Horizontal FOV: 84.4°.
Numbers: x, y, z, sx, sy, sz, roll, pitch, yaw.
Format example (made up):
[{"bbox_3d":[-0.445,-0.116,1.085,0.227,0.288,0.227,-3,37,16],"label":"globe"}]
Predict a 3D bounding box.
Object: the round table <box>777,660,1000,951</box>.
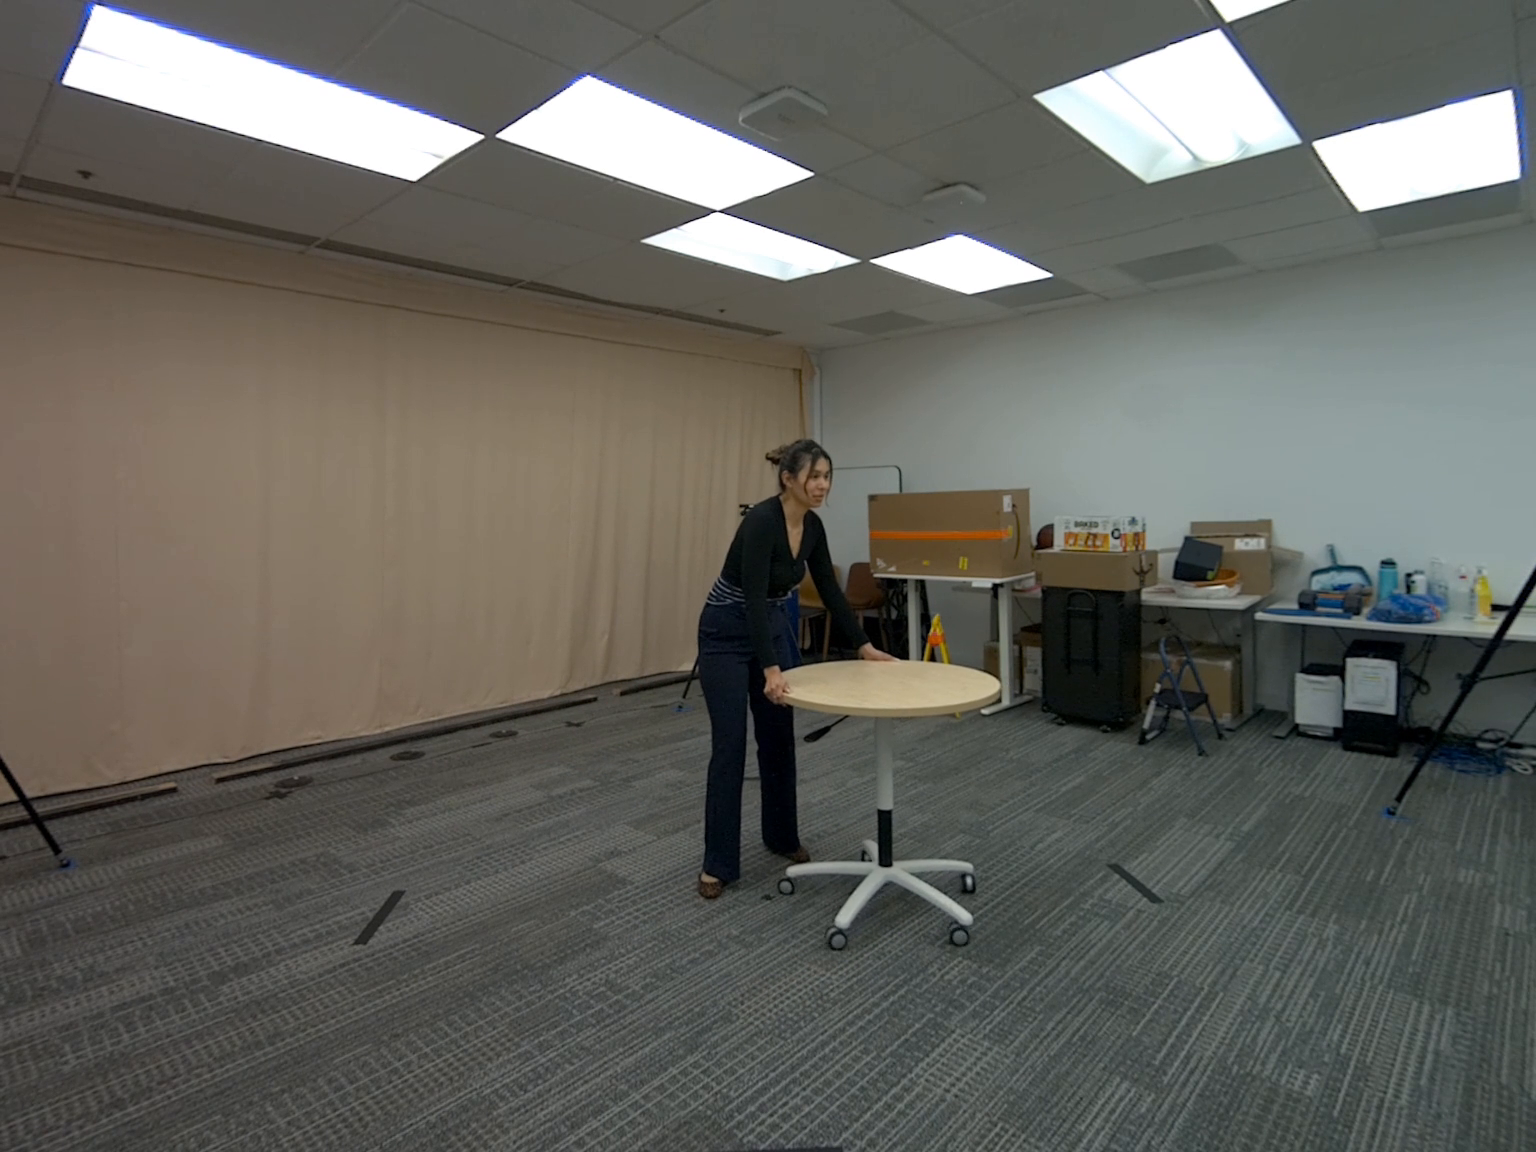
[{"bbox_3d":[0.403,0.752,2.892,0.763,0.792,0.767,-2,4,-2],"label":"round table"}]
